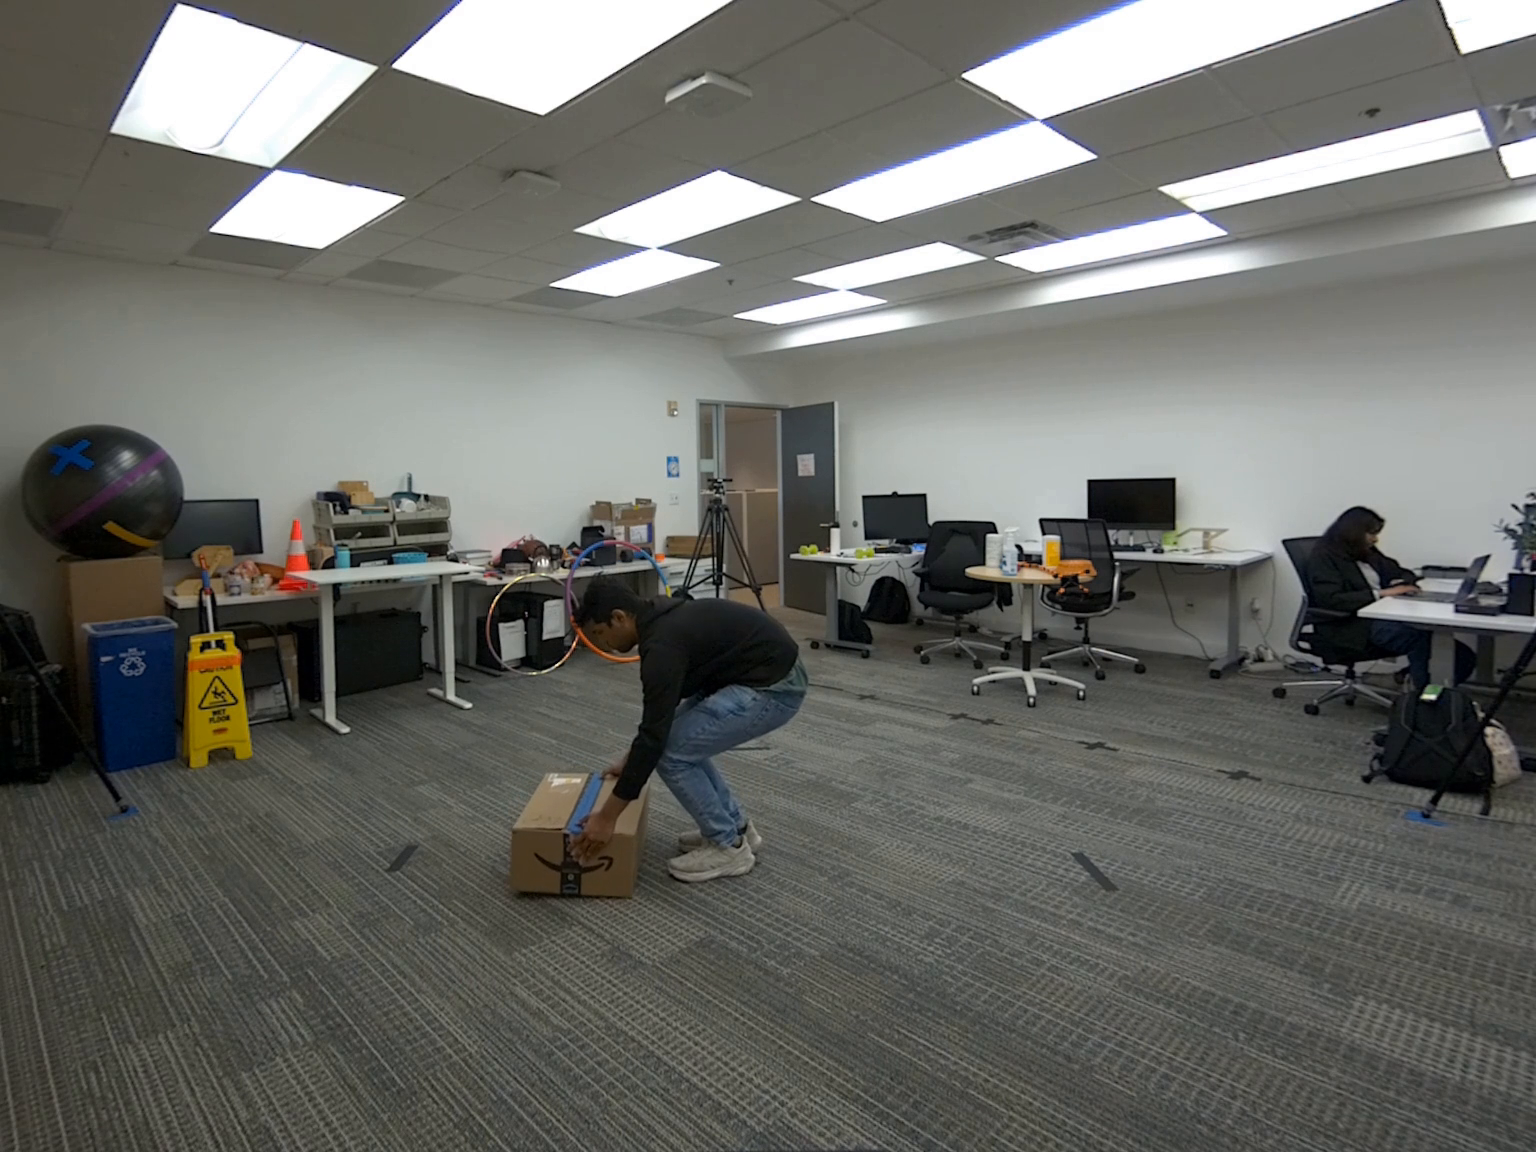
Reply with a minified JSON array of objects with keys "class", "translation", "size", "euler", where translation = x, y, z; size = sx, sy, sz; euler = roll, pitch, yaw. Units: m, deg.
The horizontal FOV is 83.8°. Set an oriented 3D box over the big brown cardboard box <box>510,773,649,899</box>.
[{"class":"big brown cardboard box","translation":[-0.673,0.930,3.139],"size":[0.417,0.232,0.593],"euler":[1,7,-2]}]
